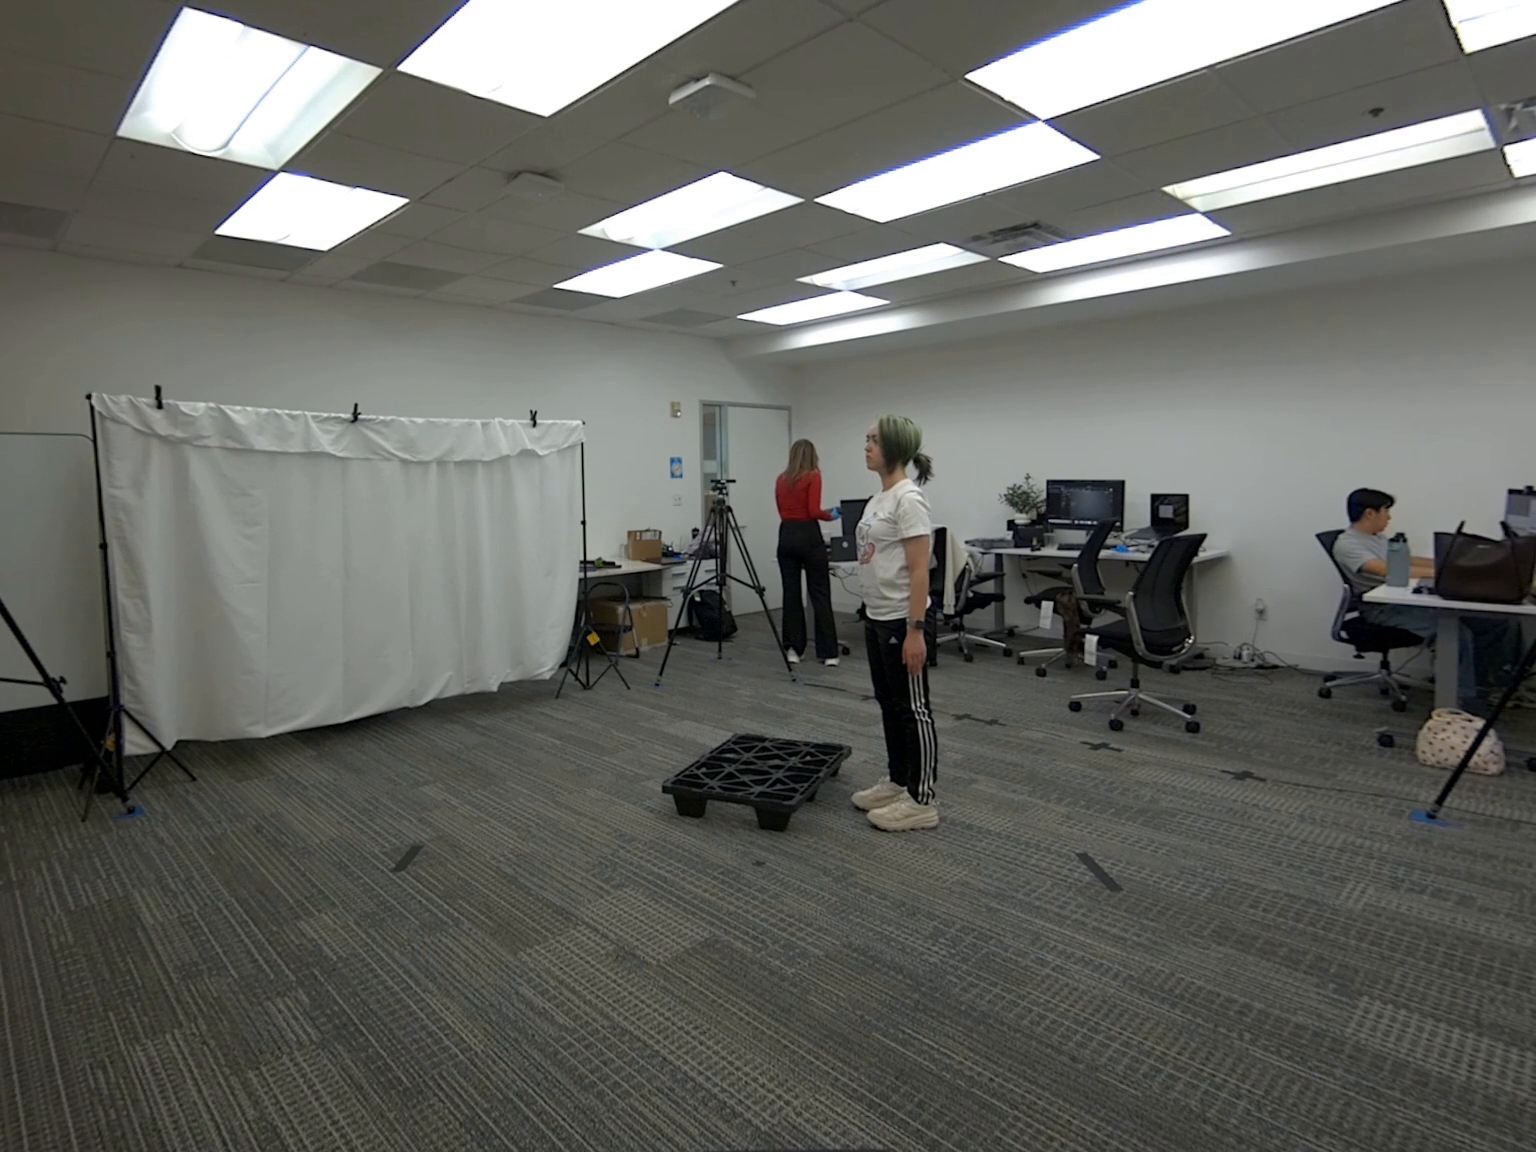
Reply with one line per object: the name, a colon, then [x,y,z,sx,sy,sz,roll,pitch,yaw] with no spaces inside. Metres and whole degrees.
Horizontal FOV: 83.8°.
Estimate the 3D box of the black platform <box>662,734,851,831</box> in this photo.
black platform: [-0.018,0.899,3.806,0.618,0.142,0.792,2,7,23]
